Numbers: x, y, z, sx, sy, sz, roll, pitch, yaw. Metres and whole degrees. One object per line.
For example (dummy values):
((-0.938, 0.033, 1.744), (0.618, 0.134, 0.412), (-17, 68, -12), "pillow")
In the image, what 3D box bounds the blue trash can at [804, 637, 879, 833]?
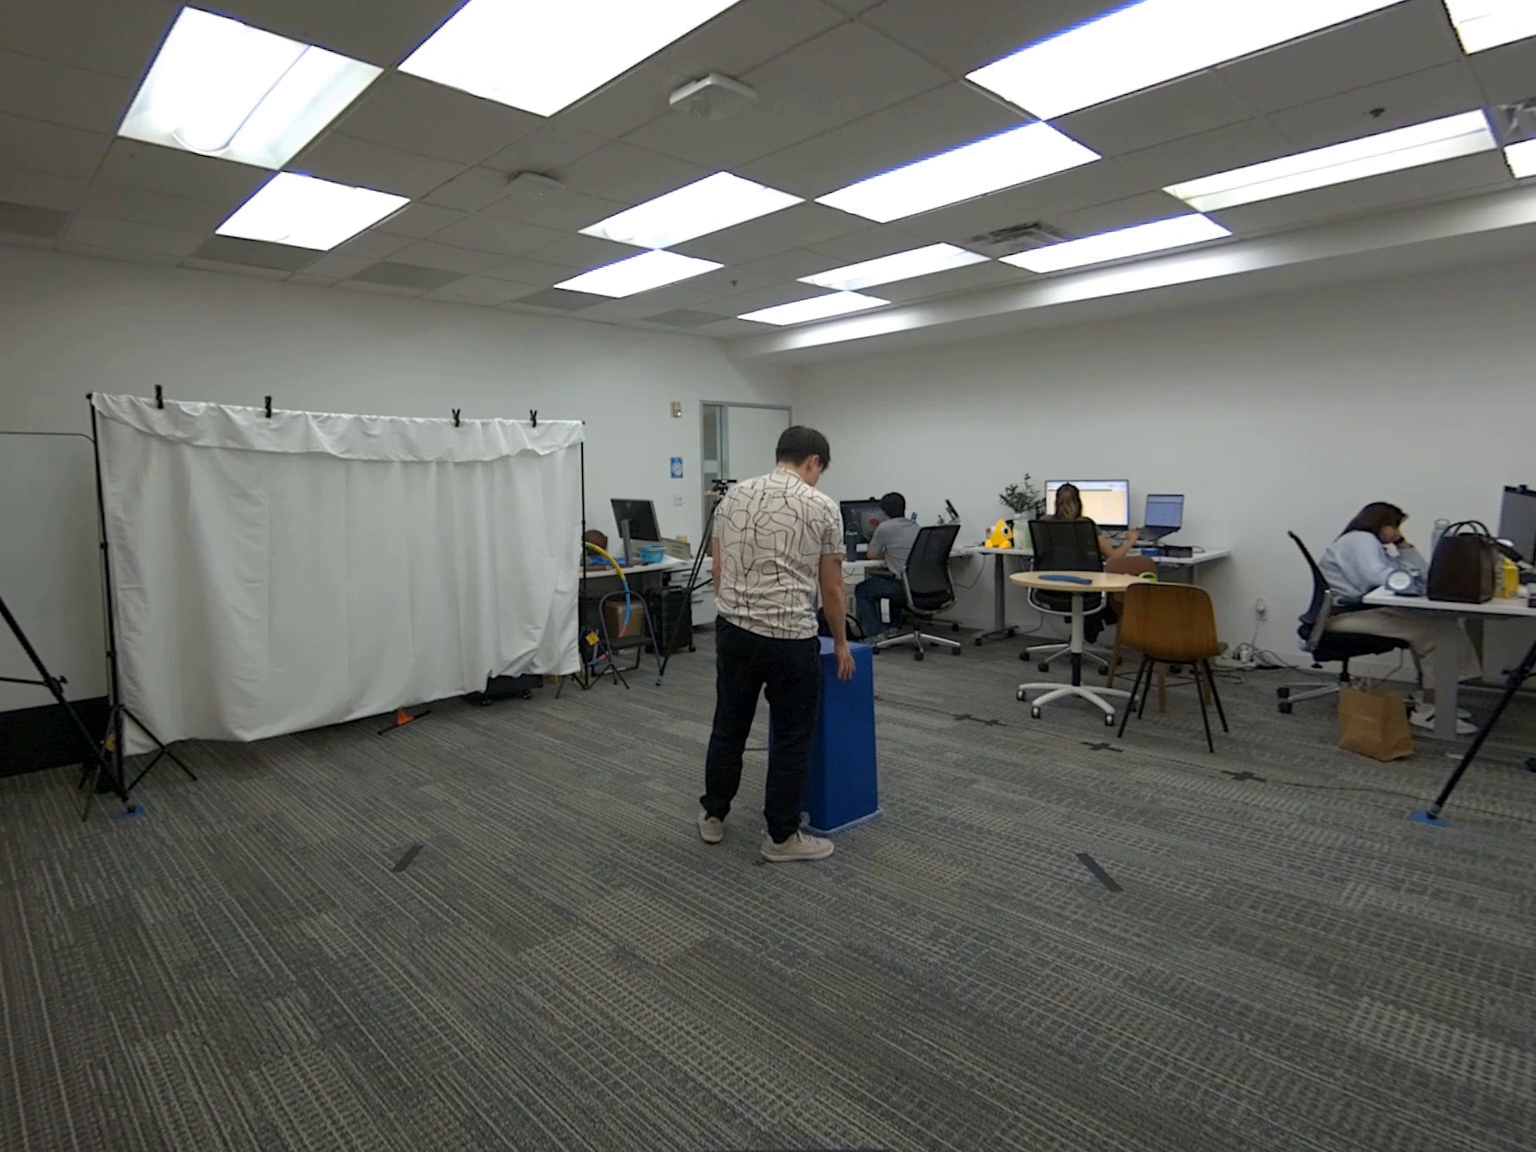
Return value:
((0.227, 0.638, 3.565), (0.368, 0.712, 0.385), (-3, 4, -42), "blue trash can")
